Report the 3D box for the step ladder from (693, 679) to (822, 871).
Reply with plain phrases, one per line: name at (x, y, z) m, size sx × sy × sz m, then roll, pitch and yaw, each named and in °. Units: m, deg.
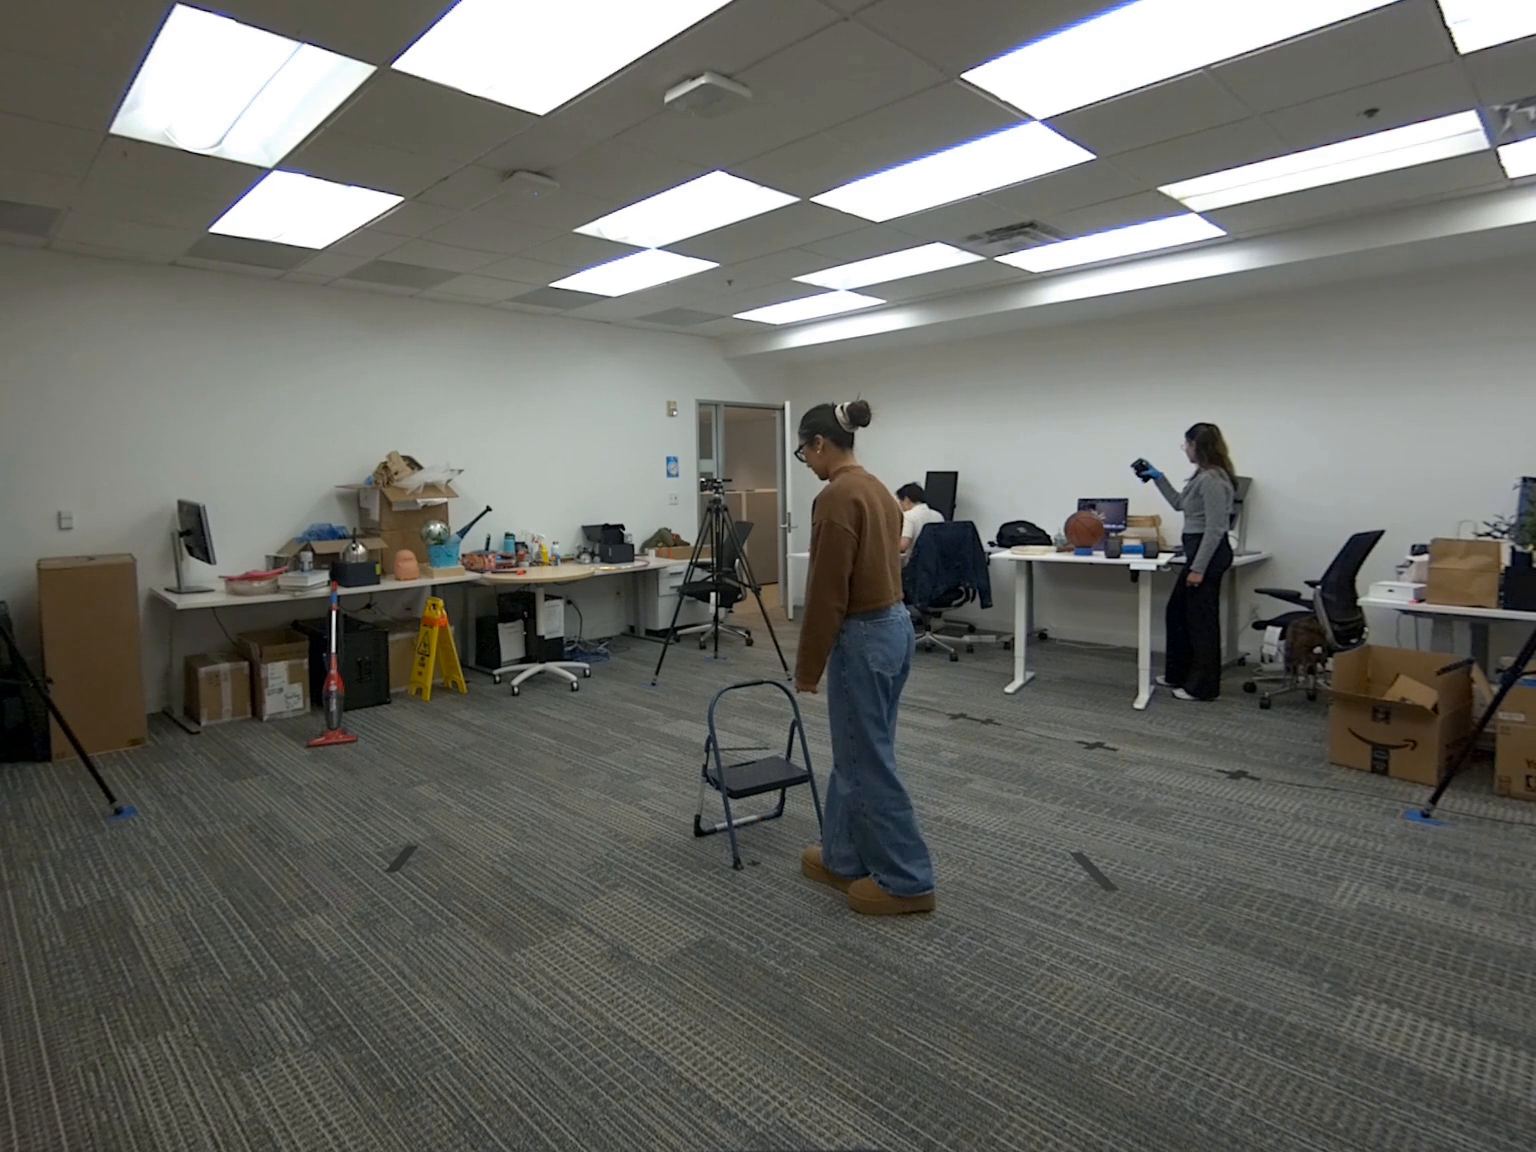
step ladder at (-0.030, 0.717, 3.290) m, size 0.420 × 0.604 × 0.359 m, roll -4°, pitch 5°, yaw -33°
